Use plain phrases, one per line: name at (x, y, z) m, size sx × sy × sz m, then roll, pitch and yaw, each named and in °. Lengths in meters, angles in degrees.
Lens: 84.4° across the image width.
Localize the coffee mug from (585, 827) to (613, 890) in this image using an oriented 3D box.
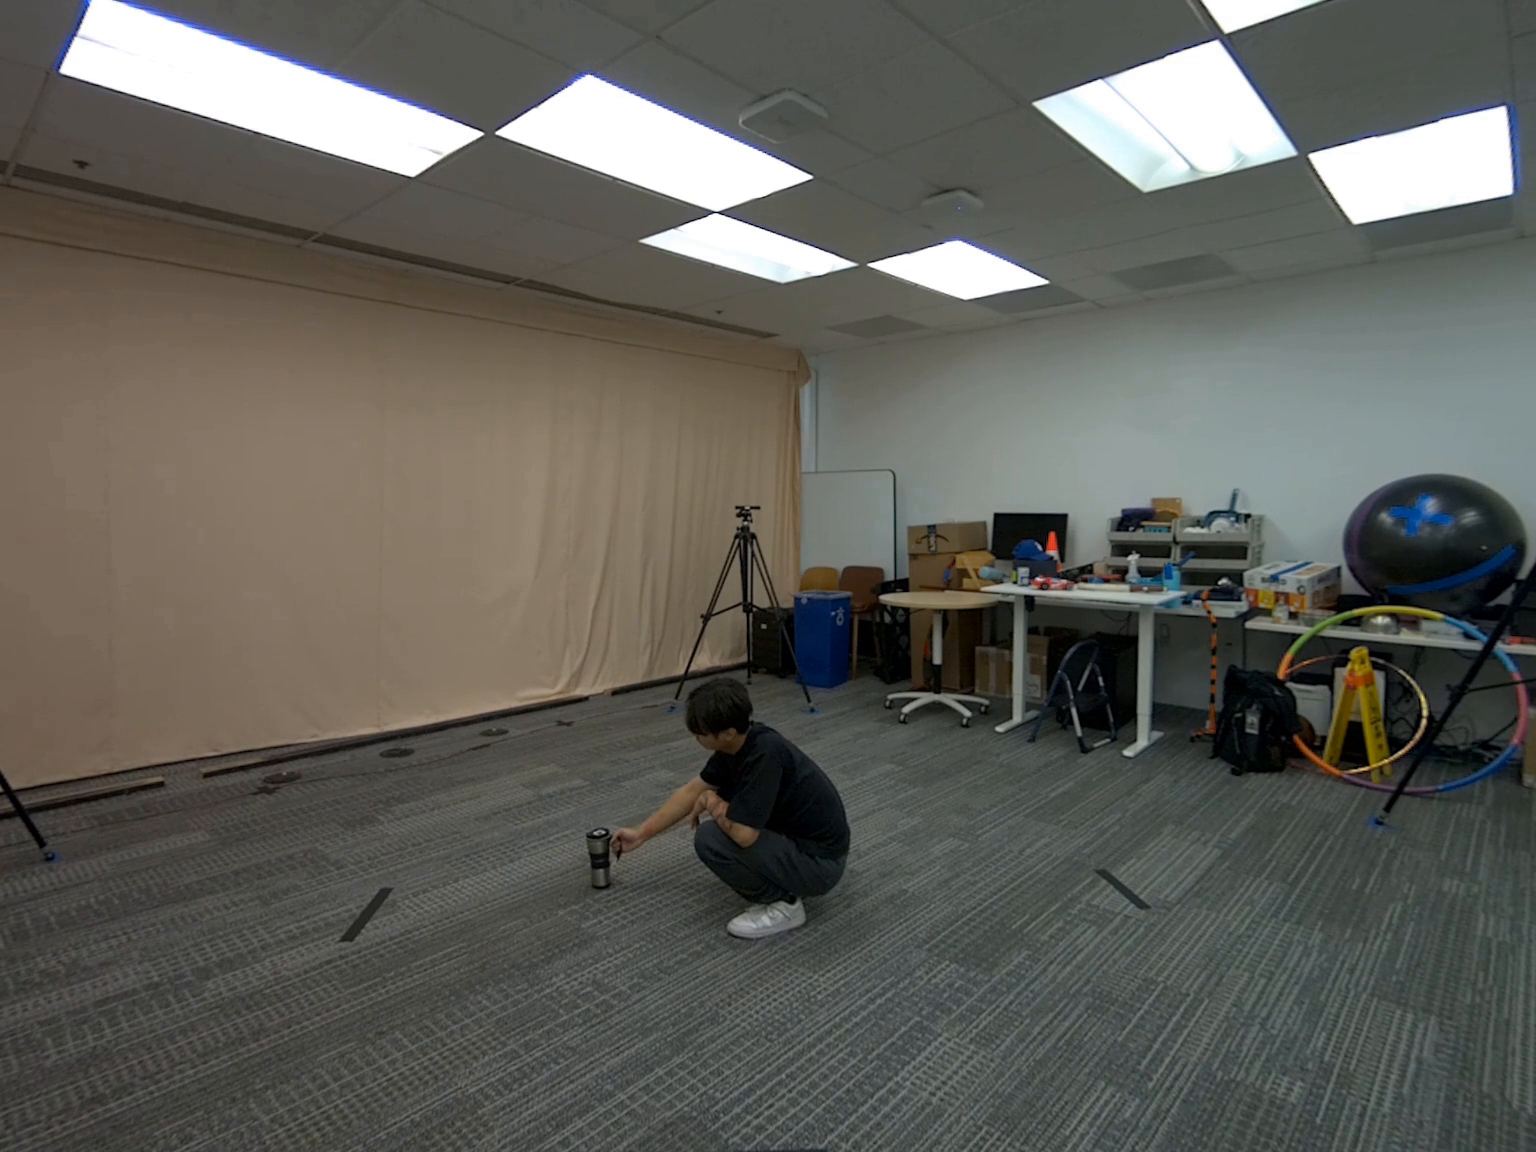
coffee mug at (-0.606, 1.040, 3.080) m, size 0.125 × 0.203 × 0.085 m, roll -6°, pitch -4°, yaw 42°
